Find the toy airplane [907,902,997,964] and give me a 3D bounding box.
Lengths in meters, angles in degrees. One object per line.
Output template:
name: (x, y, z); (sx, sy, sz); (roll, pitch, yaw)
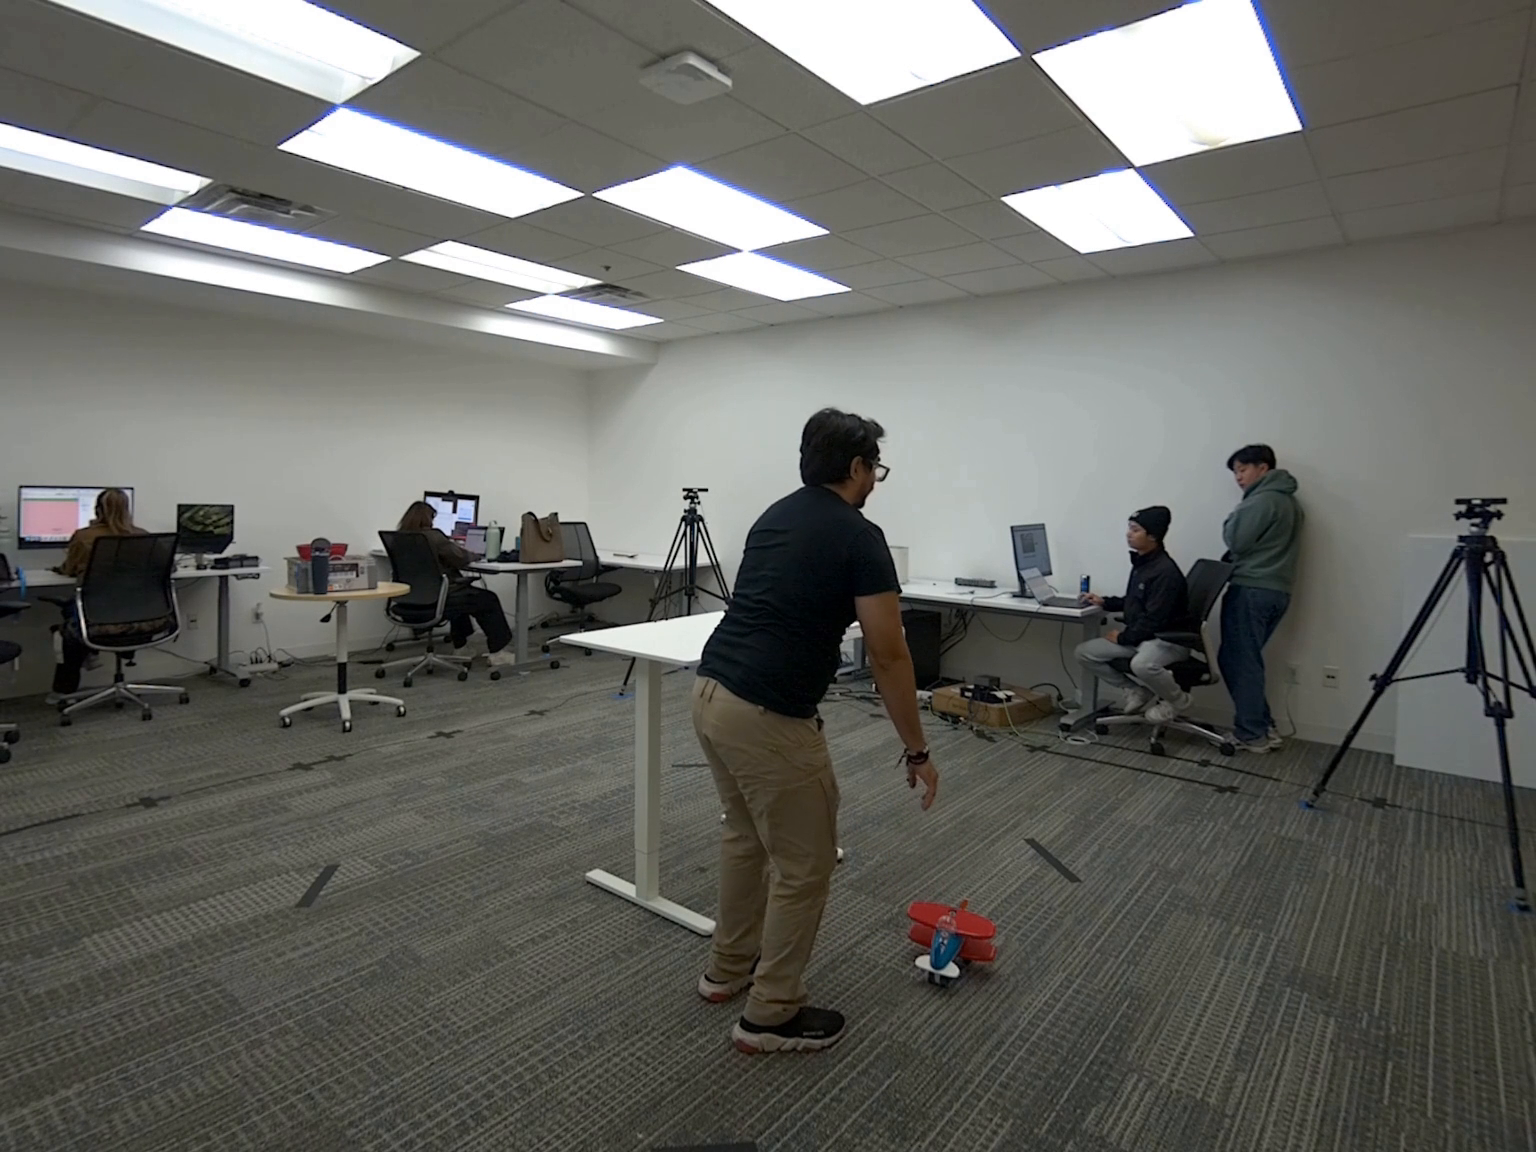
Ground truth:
toy airplane: (0.540, 1.073, 2.480); (0.251, 0.156, 0.259); (2, 3, 0)
